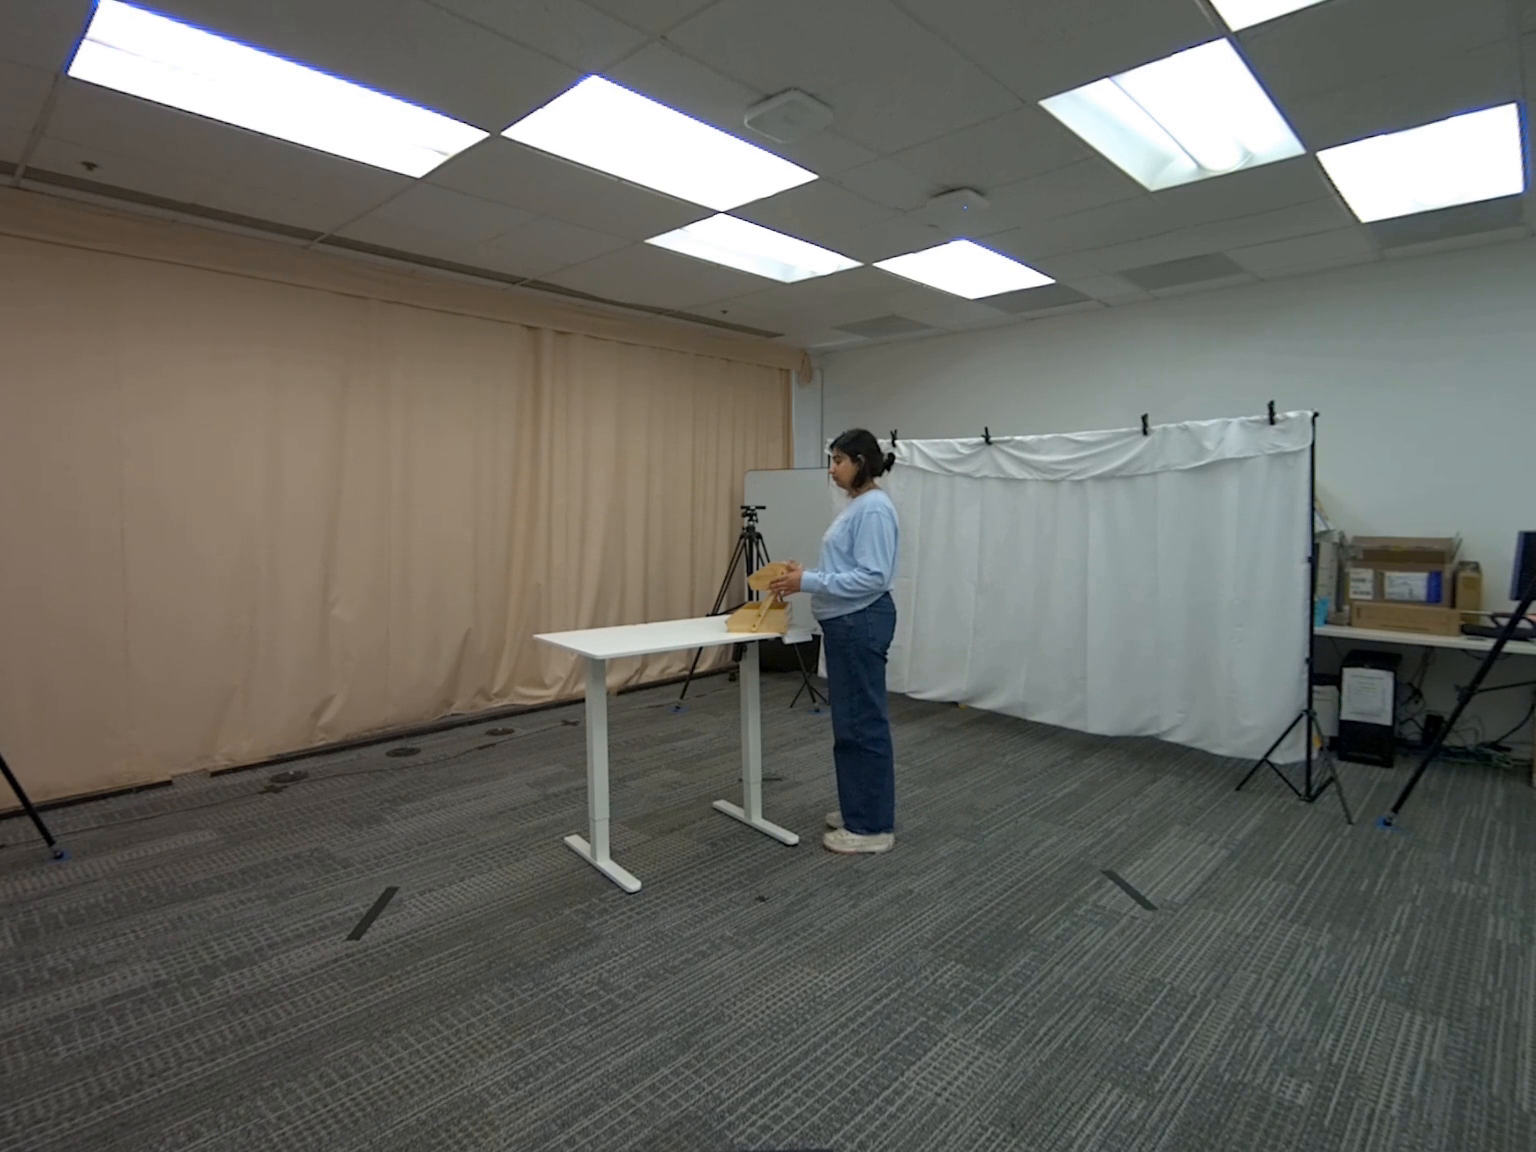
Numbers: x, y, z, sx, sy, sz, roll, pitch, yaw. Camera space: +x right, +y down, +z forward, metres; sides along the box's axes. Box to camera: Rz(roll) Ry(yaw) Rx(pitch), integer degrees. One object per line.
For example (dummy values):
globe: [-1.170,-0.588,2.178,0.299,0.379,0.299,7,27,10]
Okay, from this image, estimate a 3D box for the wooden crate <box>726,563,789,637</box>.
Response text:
wooden crate: [-0.009,0.083,3.505,0.305,0.273,0.322,1,4,7]
